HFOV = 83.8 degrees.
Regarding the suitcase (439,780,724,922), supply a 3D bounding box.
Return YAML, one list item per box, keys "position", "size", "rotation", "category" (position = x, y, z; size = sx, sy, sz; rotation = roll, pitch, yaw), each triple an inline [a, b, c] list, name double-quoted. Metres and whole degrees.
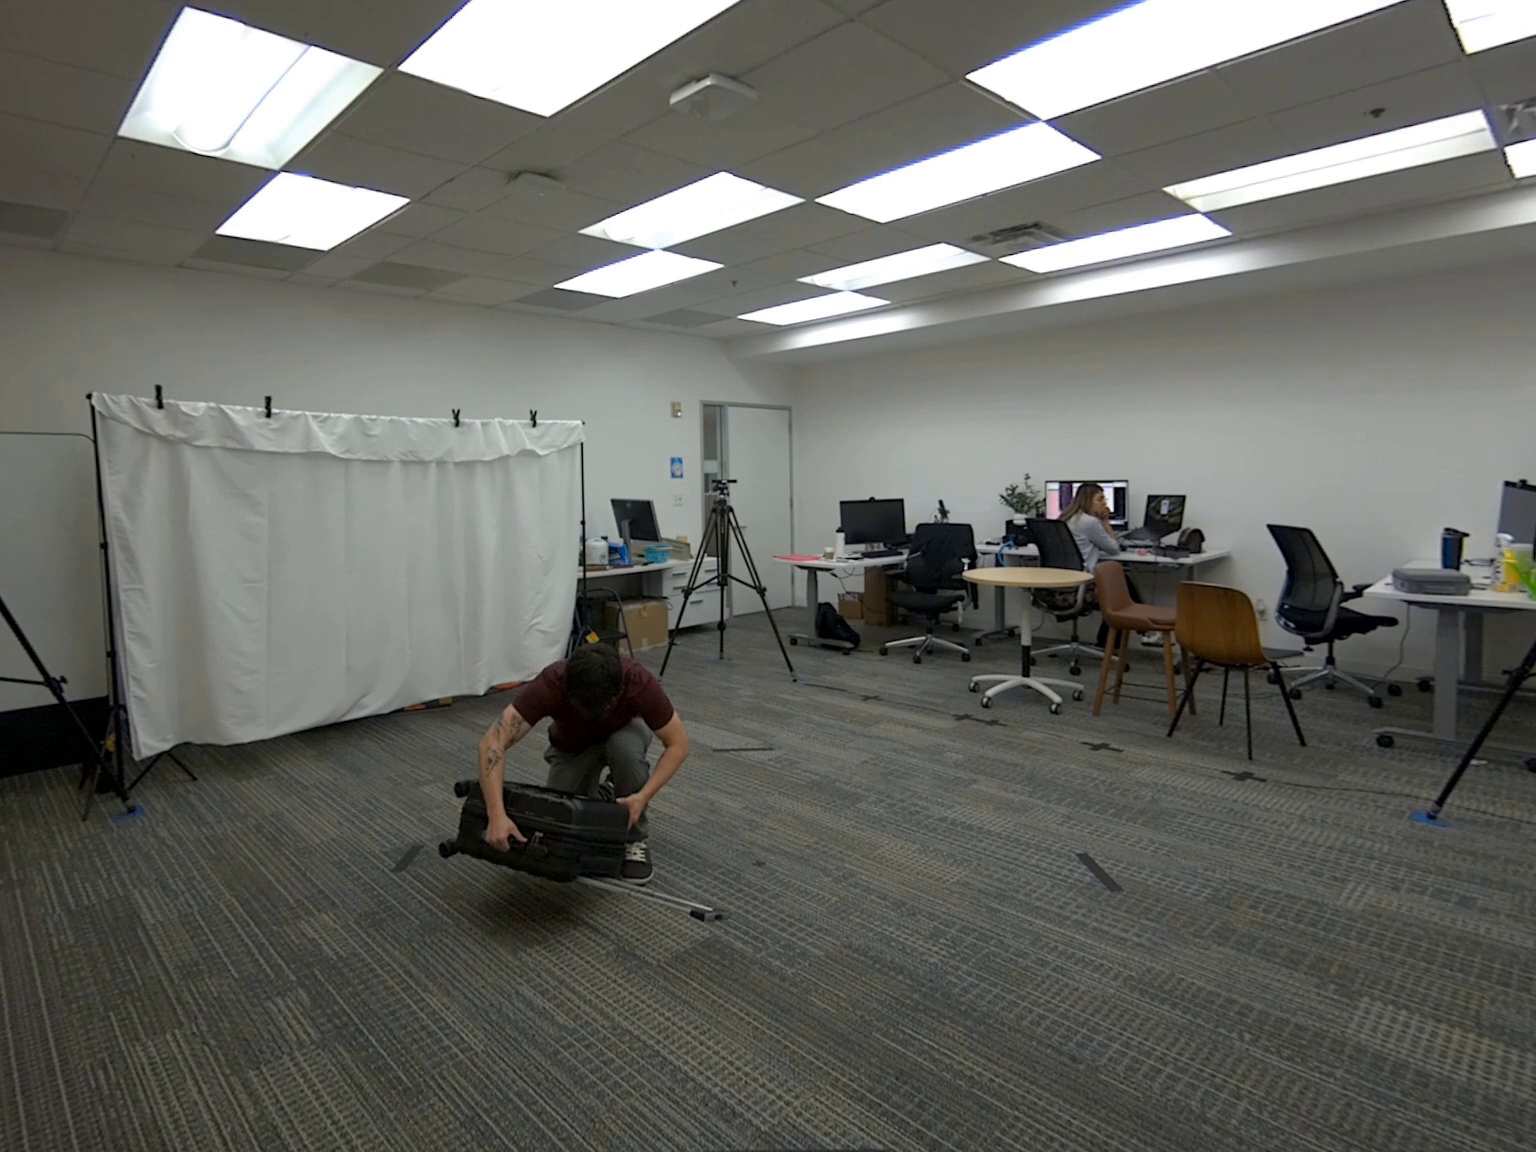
- position: [-0.577, 0.856, 2.737]
  size: [1.003, 0.260, 0.370]
  rotation: [1, -20, 28]
  category: "suitcase"
